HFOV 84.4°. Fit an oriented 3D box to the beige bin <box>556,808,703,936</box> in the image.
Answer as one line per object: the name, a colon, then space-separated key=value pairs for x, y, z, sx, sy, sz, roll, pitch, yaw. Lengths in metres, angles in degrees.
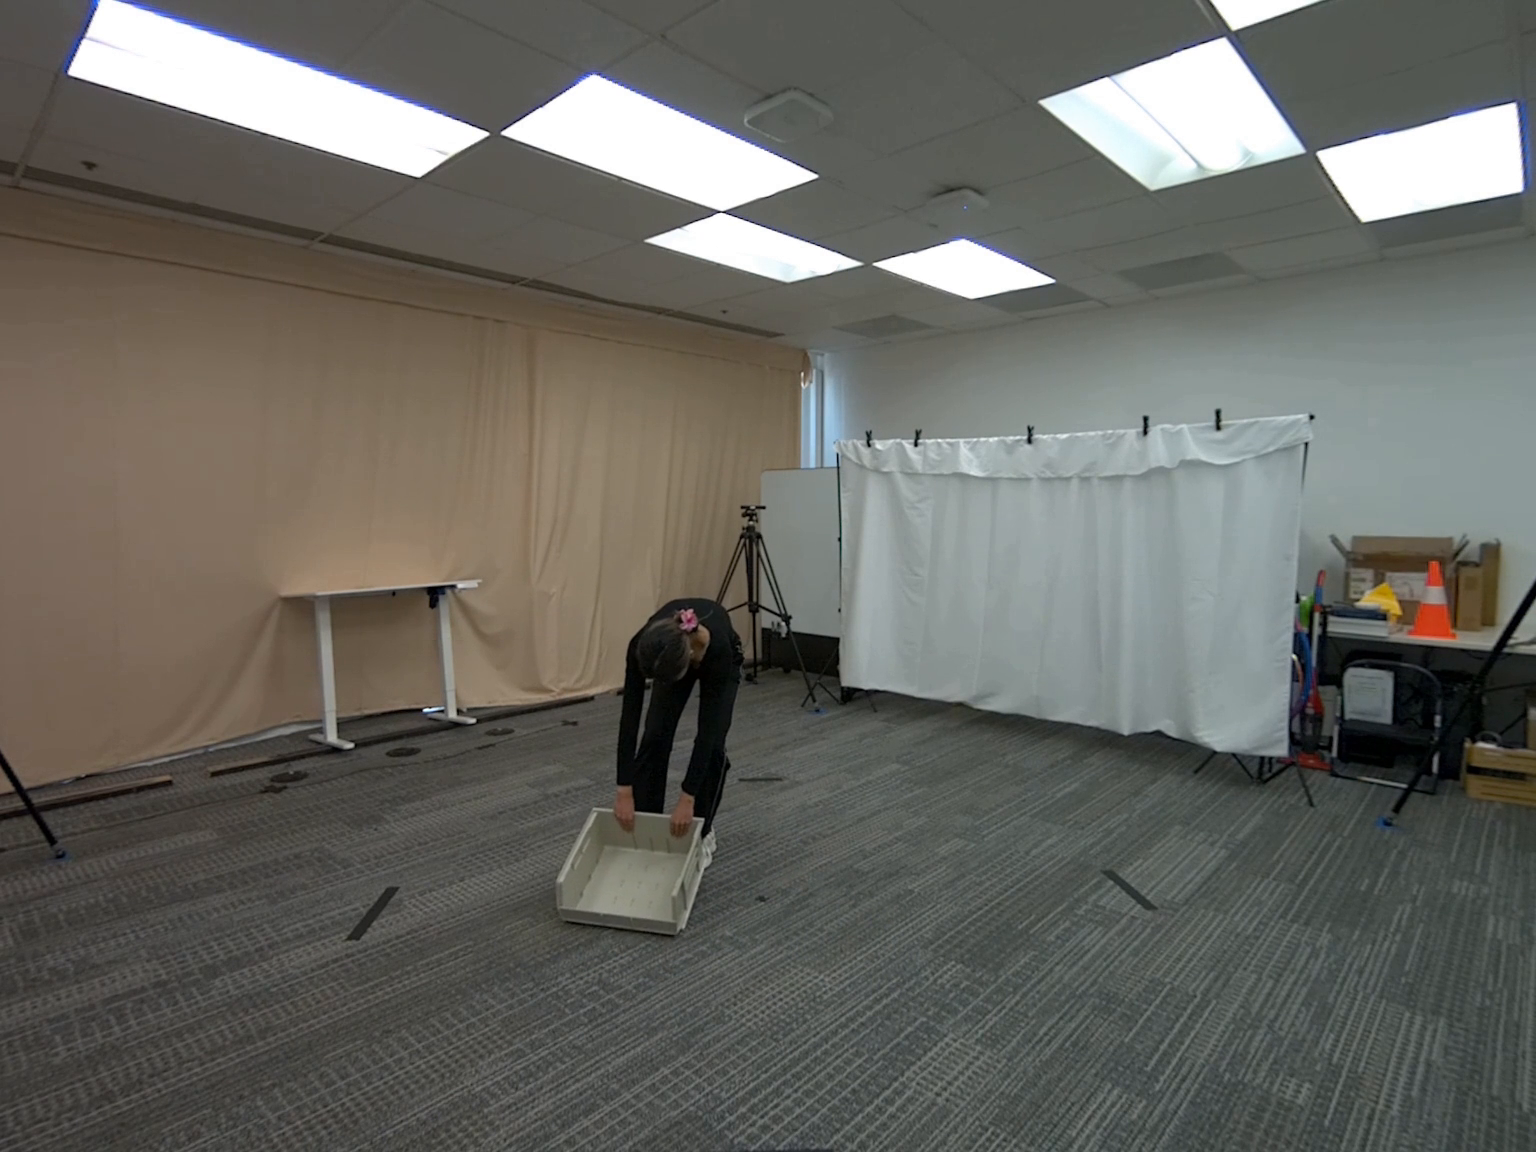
beige bin: x=-0.456 y=1.018 z=2.899 sx=0.428 sy=0.186 sz=0.378 roll=0 pitch=26 yaw=13
